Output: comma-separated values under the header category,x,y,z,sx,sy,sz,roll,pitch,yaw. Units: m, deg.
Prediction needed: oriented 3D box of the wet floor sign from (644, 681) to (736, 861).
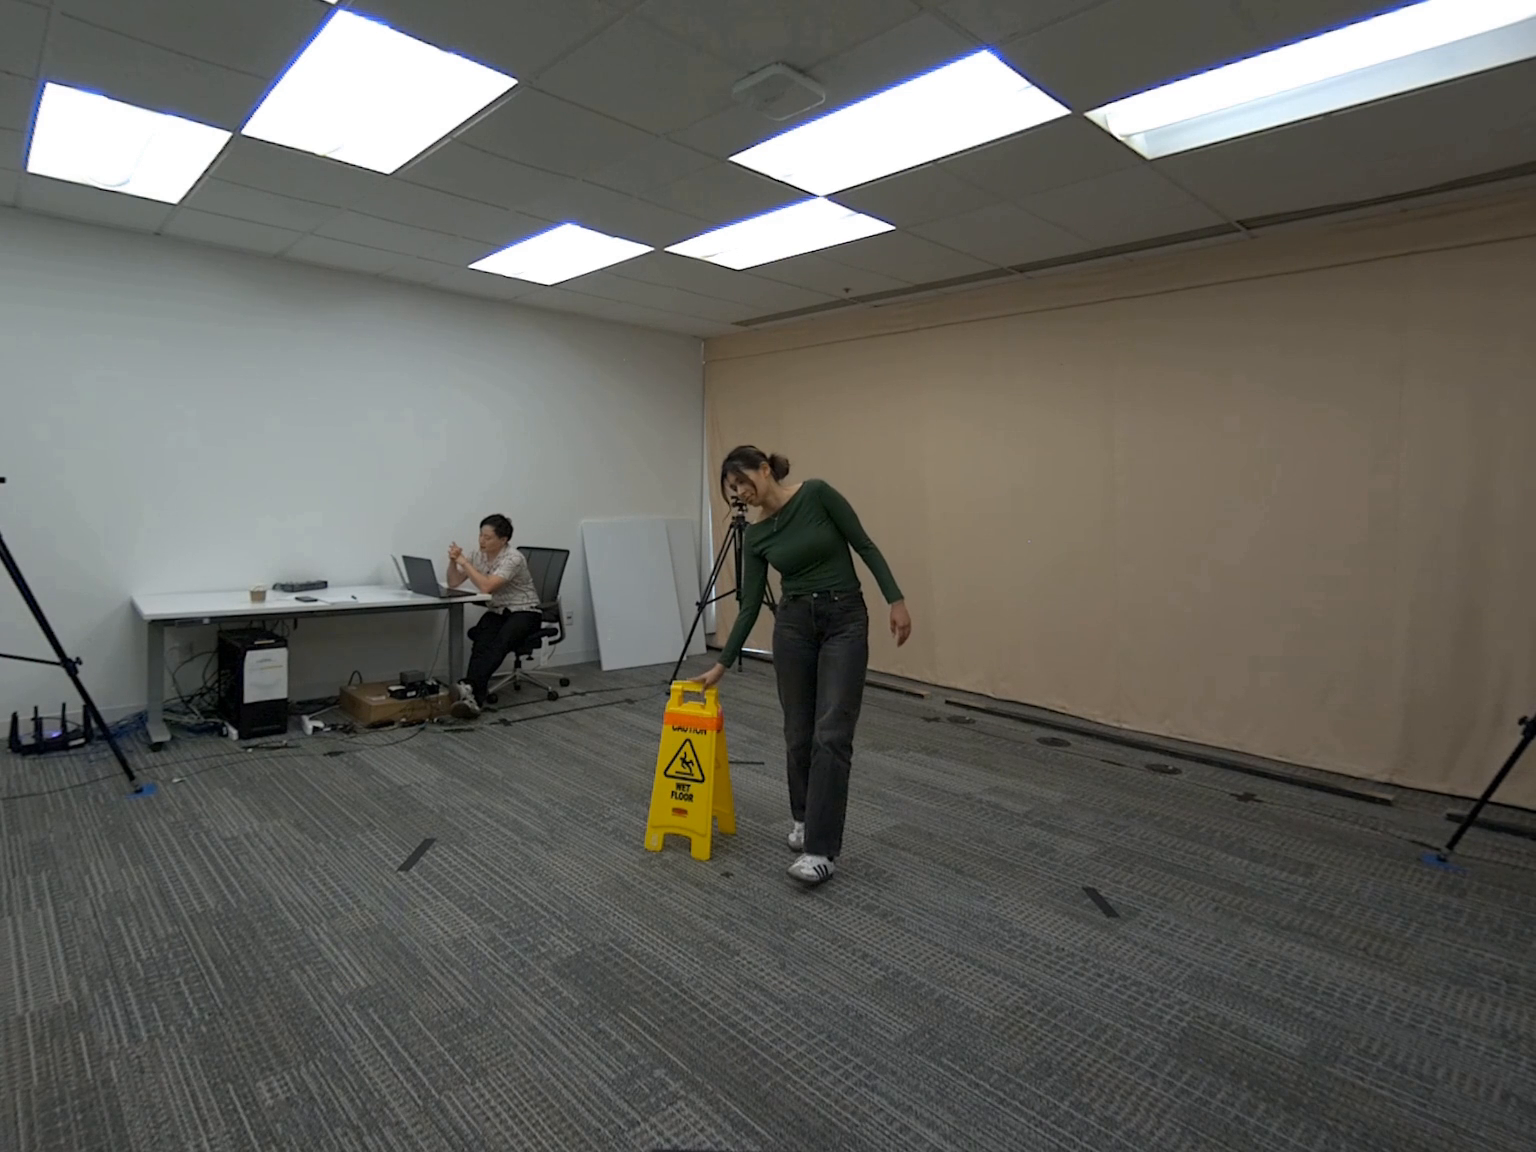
category,x,y,z,sx,sy,sz,roll,pitch,yaw
wet floor sign,-0.308,0.745,3.384,0.287,0.644,0.286,2,4,20
